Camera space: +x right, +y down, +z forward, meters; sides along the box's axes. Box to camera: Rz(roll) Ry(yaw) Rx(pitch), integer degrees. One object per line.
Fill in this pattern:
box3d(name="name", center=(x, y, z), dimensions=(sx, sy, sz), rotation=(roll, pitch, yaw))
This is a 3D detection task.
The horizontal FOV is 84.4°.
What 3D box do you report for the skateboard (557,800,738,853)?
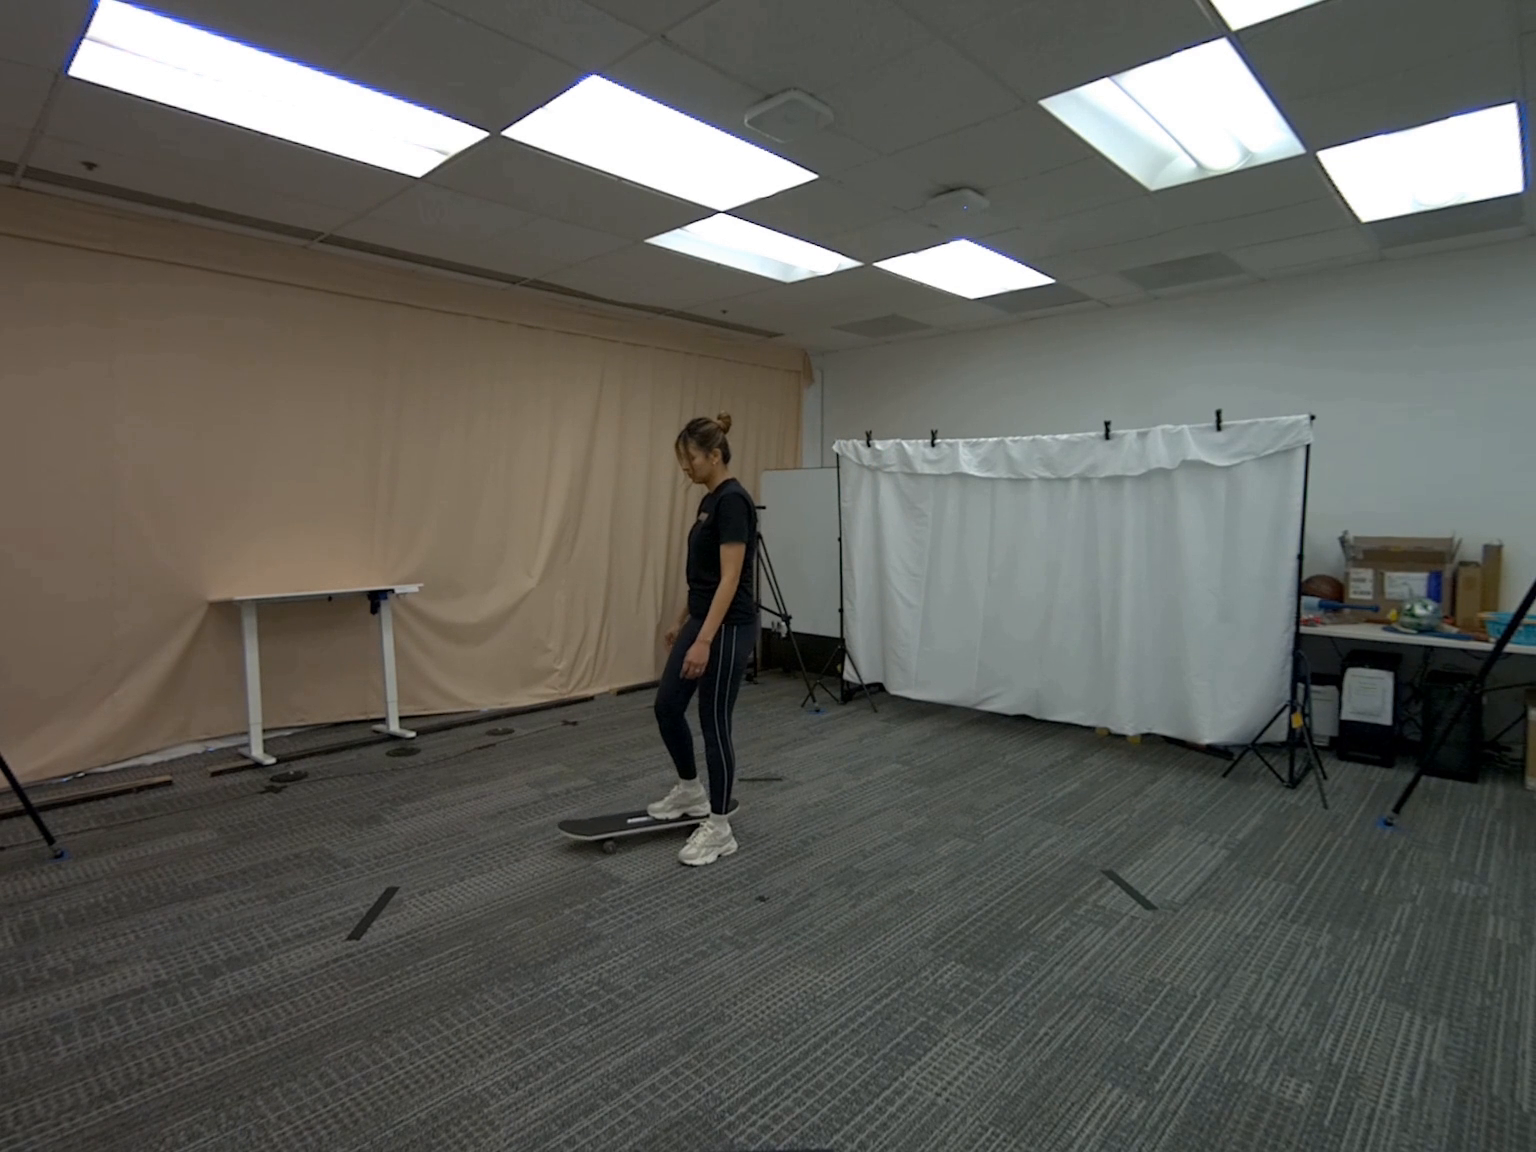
box3d(name="skateboard", center=(-0.491, 1.050, 3.530), dimensions=(0.769, 0.110, 0.198), rotation=(-2, 5, -21))
